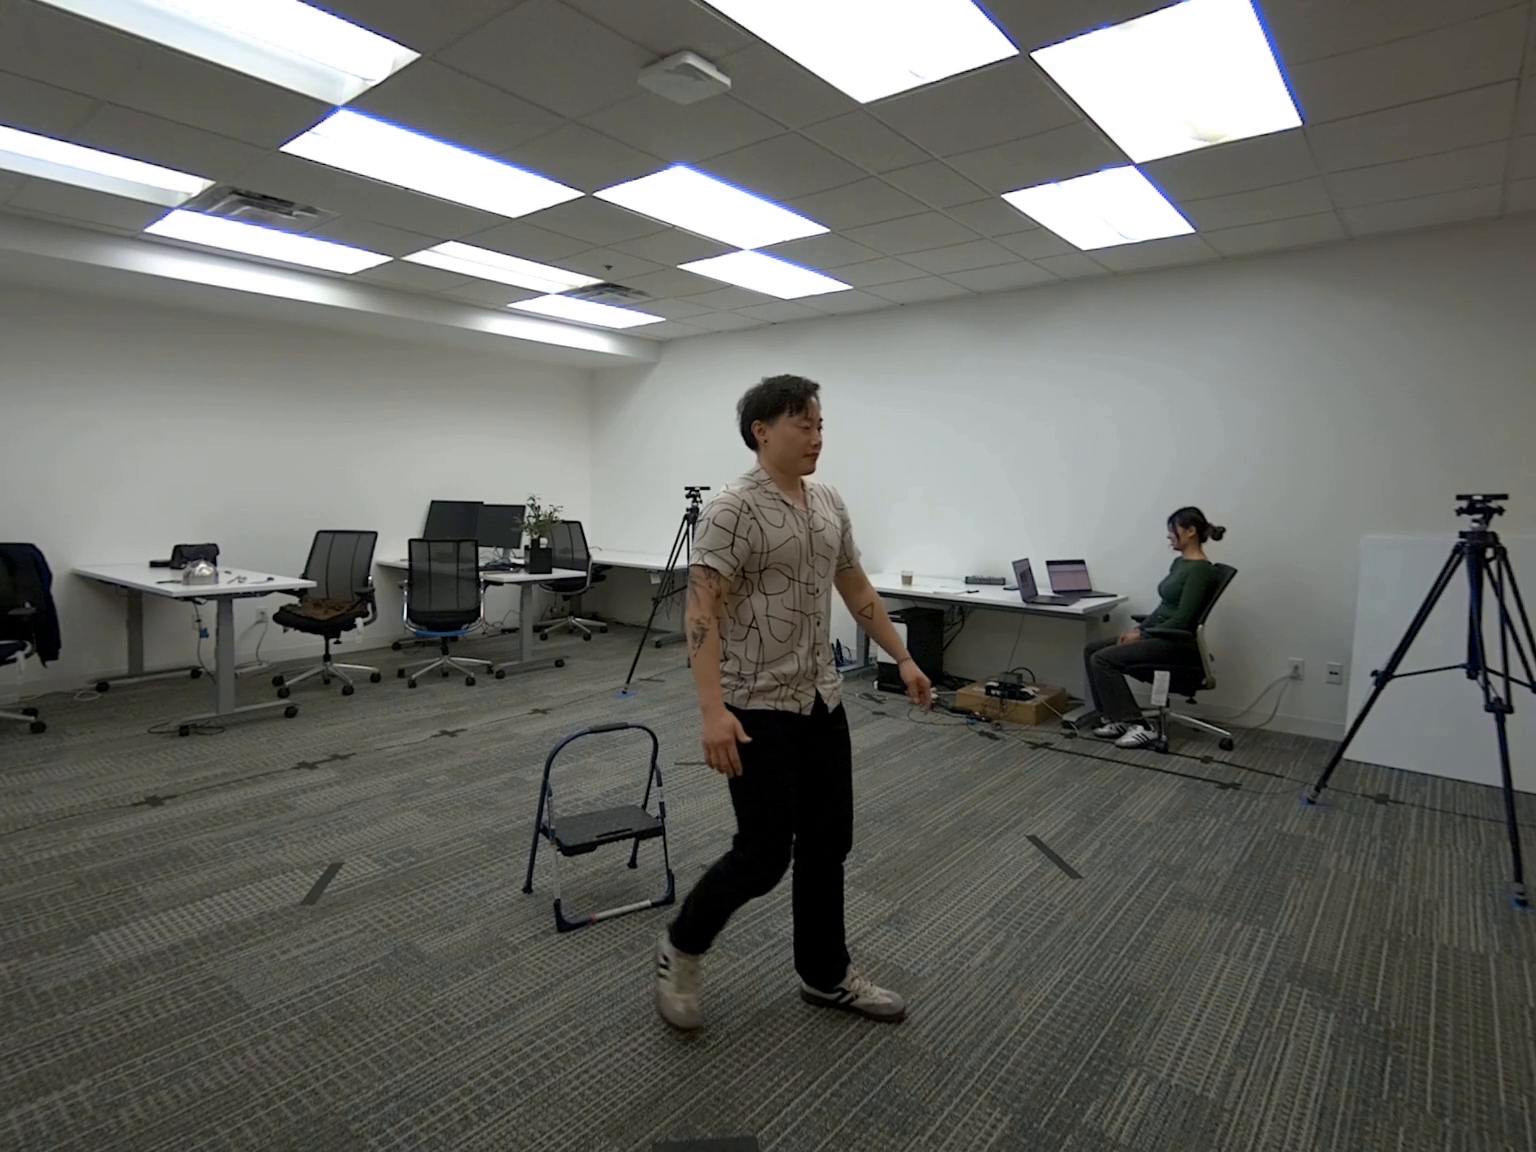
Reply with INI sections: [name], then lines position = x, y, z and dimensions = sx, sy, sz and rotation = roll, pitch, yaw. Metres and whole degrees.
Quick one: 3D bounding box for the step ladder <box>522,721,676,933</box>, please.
[step ladder]
position = -0.580, 0.779, 2.870
dimensions = 0.418, 0.604, 0.360
rotation = -2, 4, -33
